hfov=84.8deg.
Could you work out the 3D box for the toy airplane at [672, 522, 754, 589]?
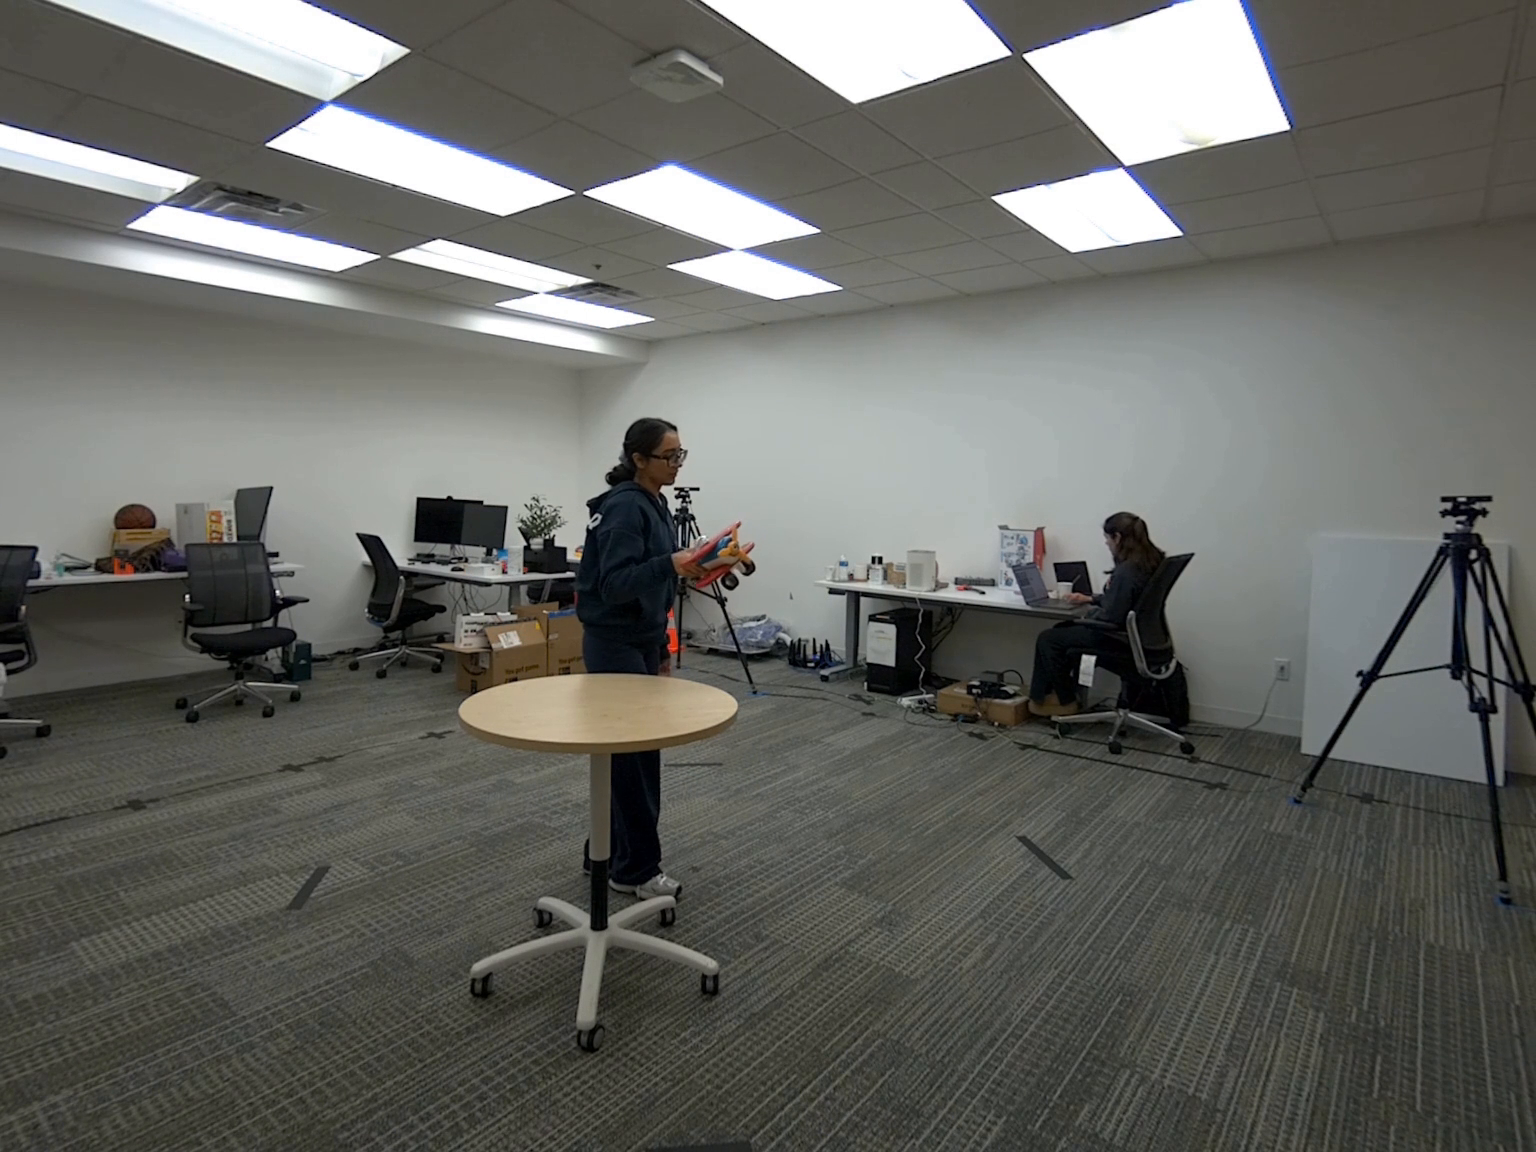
[{"bbox_3d":[-0.193,-0.042,2.607,0.263,0.152,0.254,-15,23,18],"label":"toy airplane"}]
